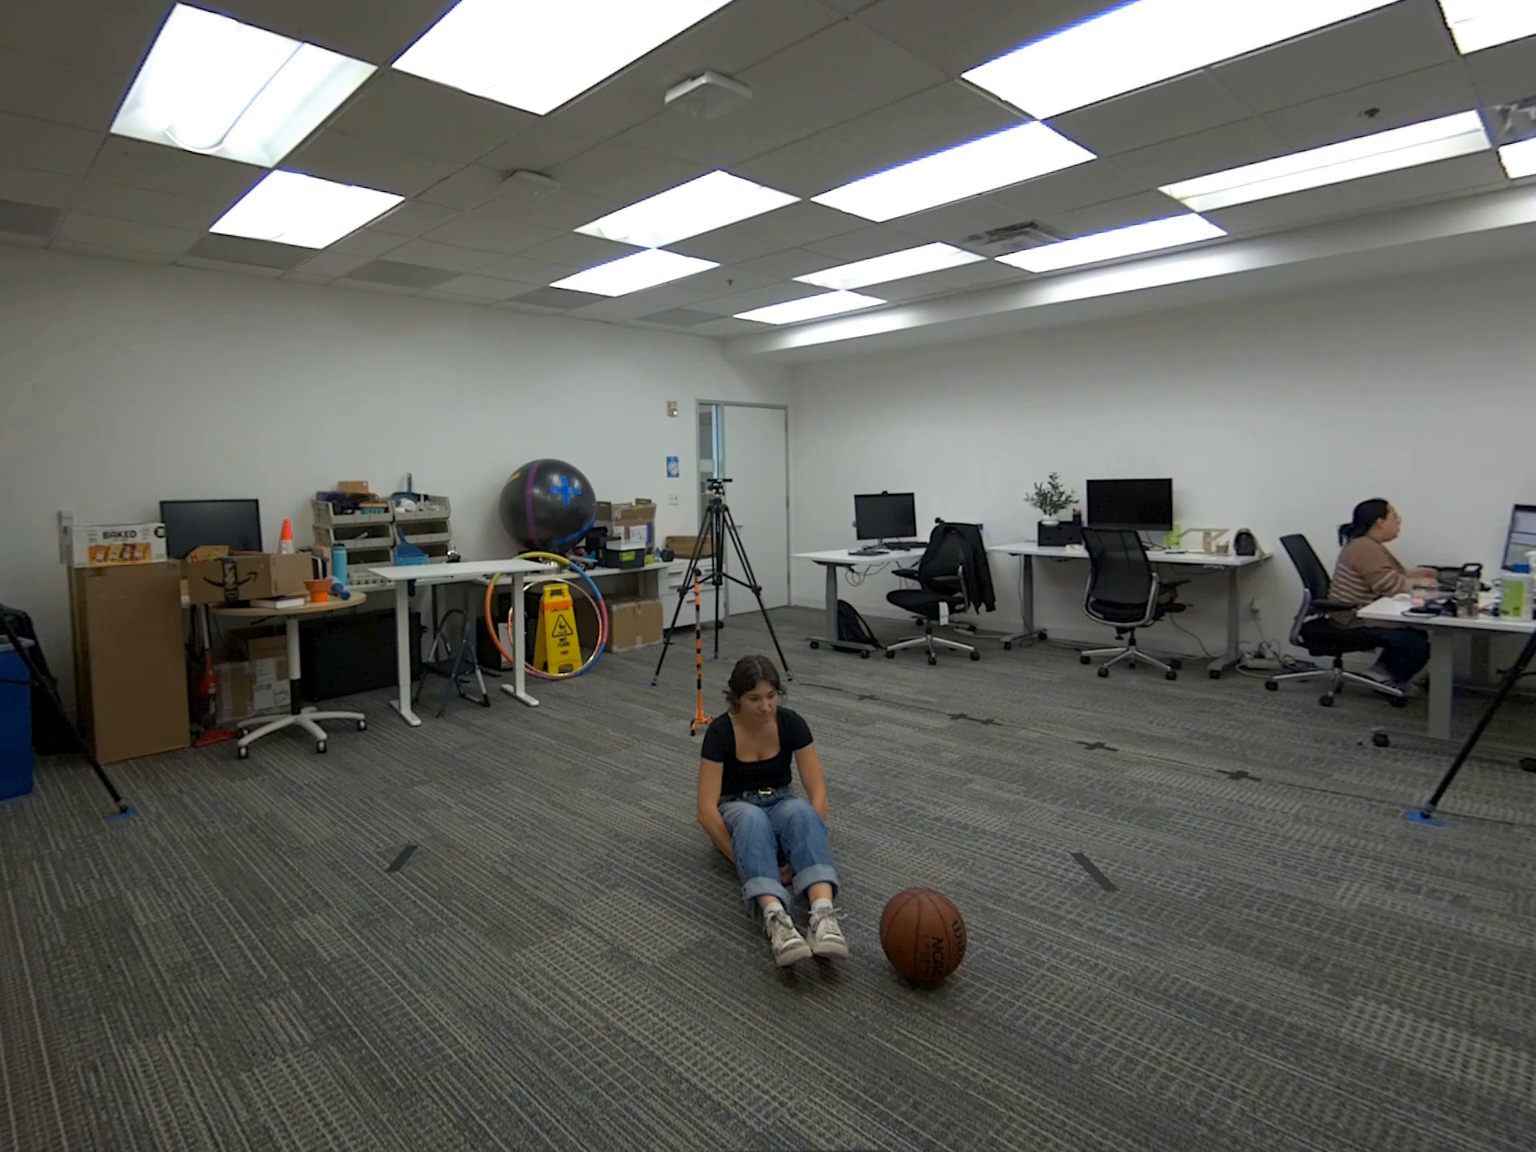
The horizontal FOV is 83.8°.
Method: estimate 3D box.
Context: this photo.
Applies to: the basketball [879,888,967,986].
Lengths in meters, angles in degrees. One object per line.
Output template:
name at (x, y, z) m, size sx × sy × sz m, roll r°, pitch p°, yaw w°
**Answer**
basketball at (0.439, 0.998, 2.386) m, size 0.236 × 0.235 × 0.237 m, roll -1°, pitch 5°, yaw -2°
